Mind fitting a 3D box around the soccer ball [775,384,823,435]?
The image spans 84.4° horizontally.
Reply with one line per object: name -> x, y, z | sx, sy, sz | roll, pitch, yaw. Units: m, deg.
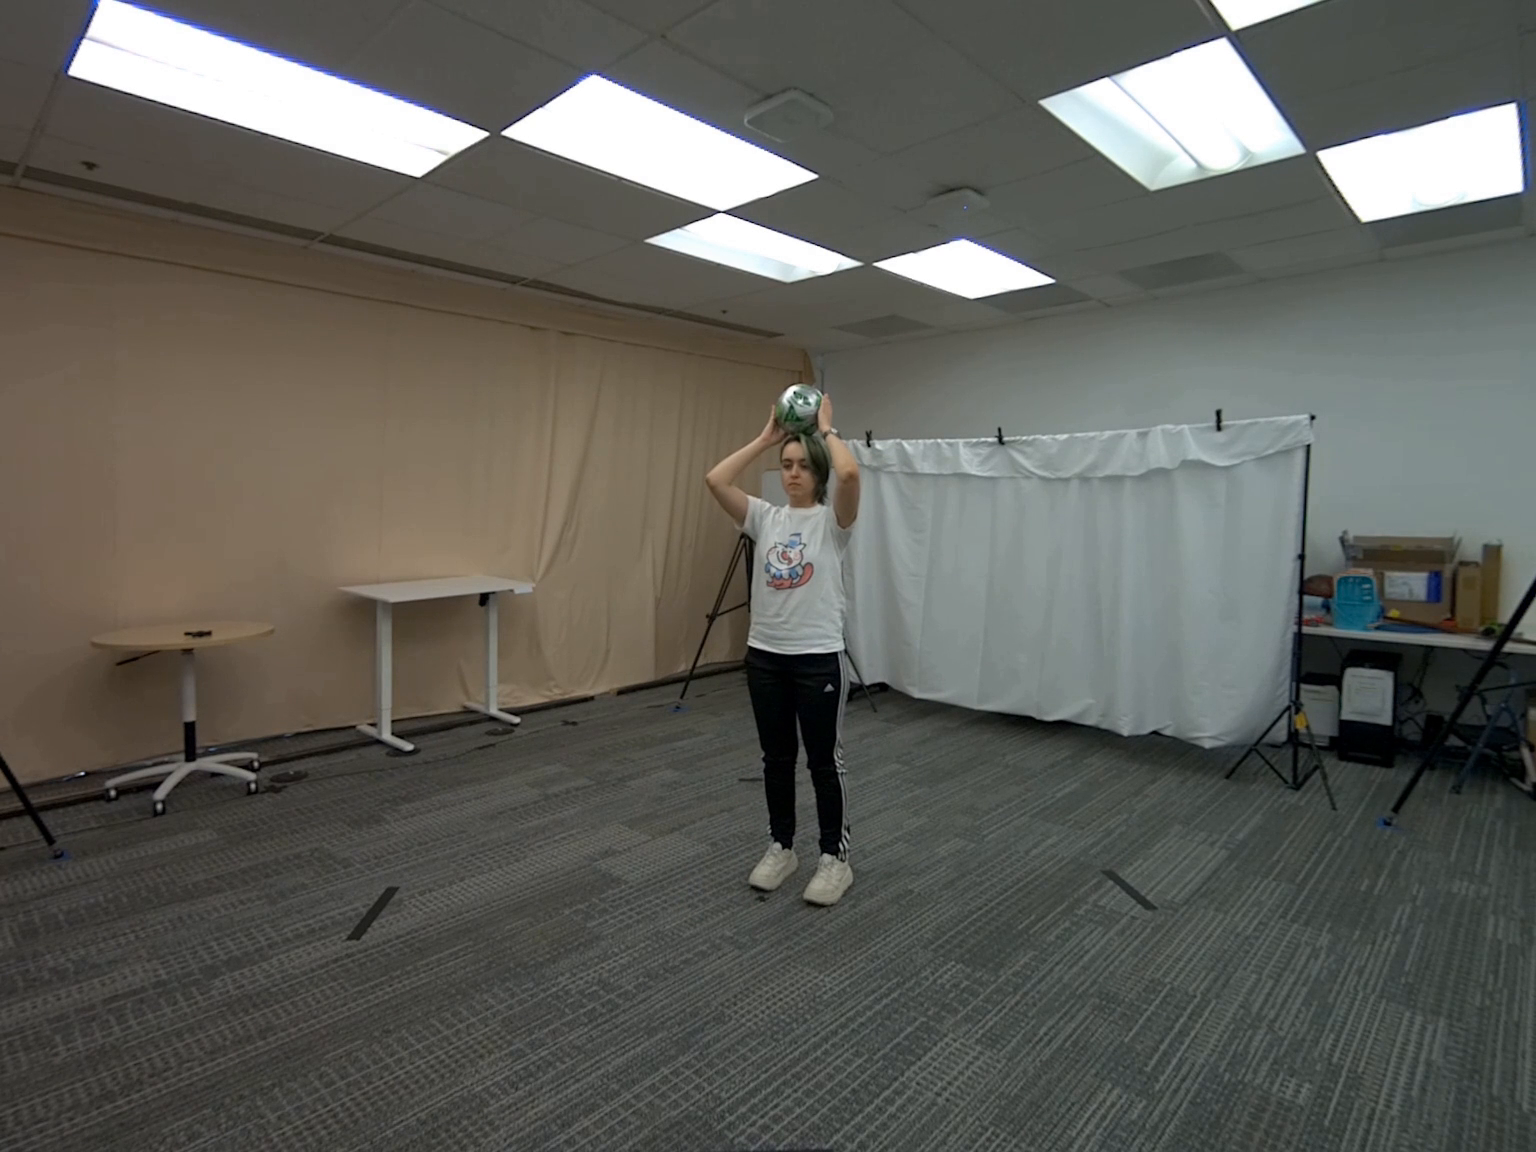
soccer ball -> 0.128, -0.591, 3.031 | 0.187, 0.187, 0.188 | 0, 4, -2
